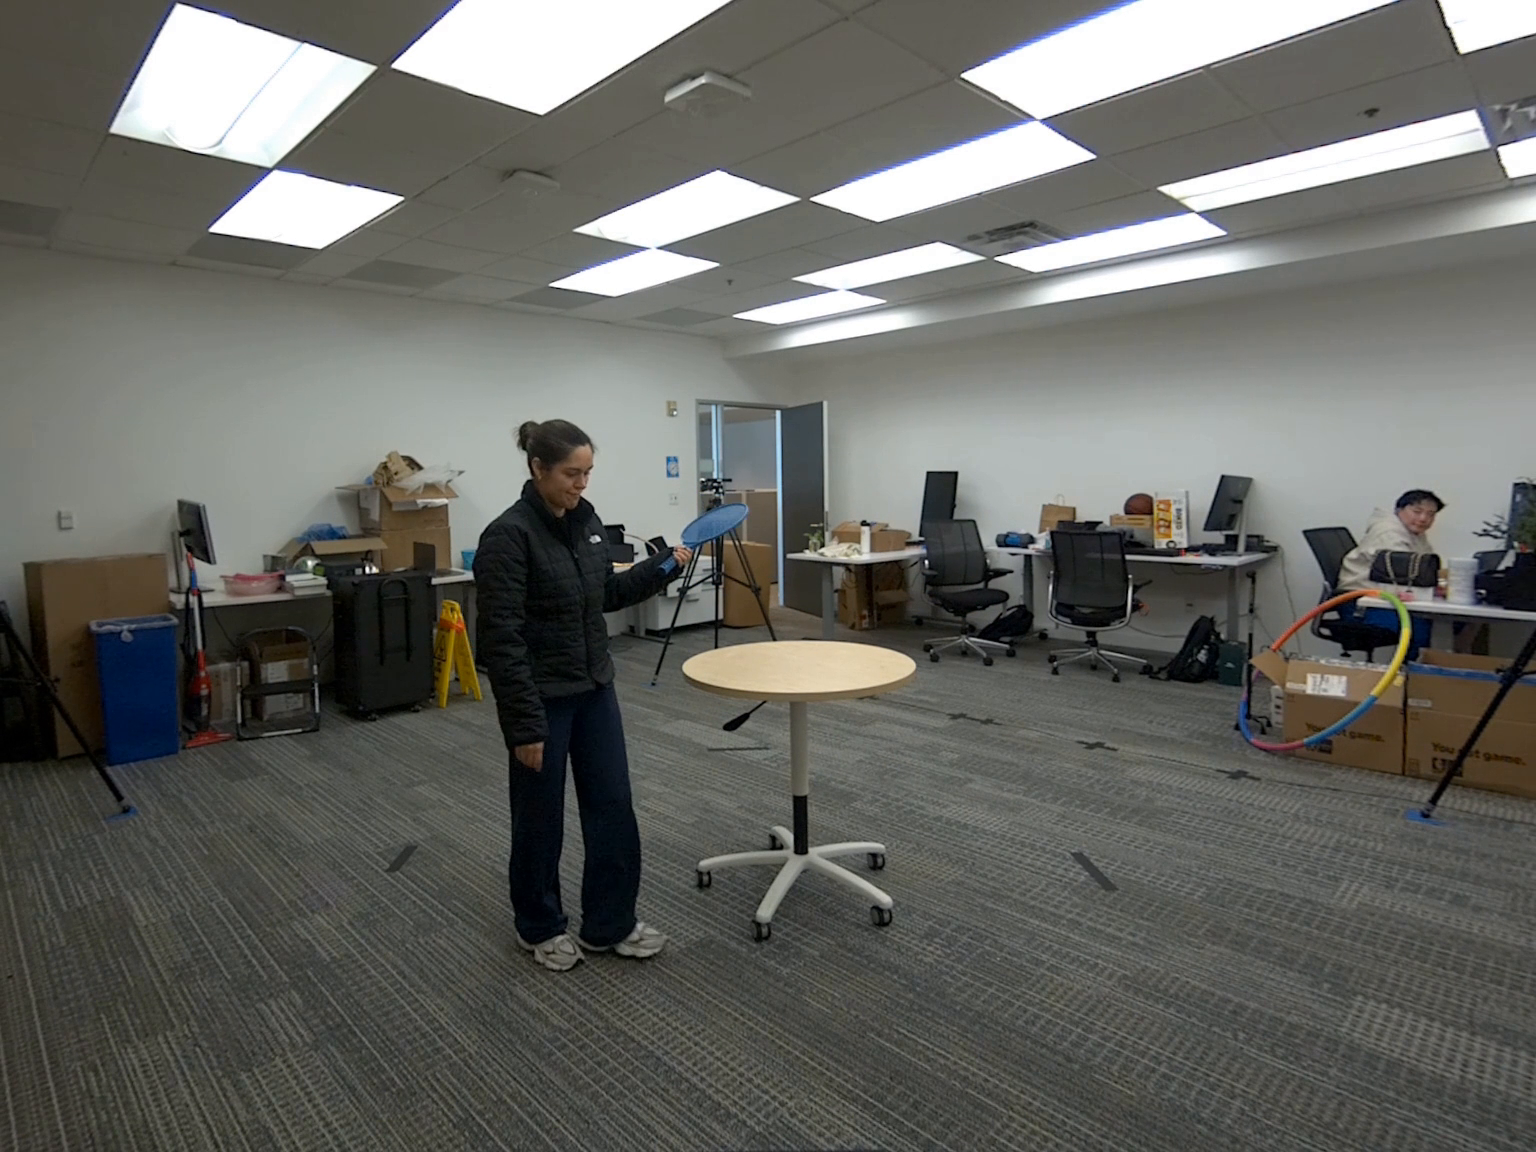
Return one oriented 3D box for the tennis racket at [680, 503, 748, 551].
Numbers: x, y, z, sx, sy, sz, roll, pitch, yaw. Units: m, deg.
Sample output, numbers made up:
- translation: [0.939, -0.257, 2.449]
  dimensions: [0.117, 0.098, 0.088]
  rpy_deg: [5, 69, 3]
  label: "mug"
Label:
- translation: [-0.210, -0.122, 2.687]
  dimensions: [0.220, 0.031, 0.431]
  rpy_deg: [0, 31, 39]
  label: "tennis racket"
